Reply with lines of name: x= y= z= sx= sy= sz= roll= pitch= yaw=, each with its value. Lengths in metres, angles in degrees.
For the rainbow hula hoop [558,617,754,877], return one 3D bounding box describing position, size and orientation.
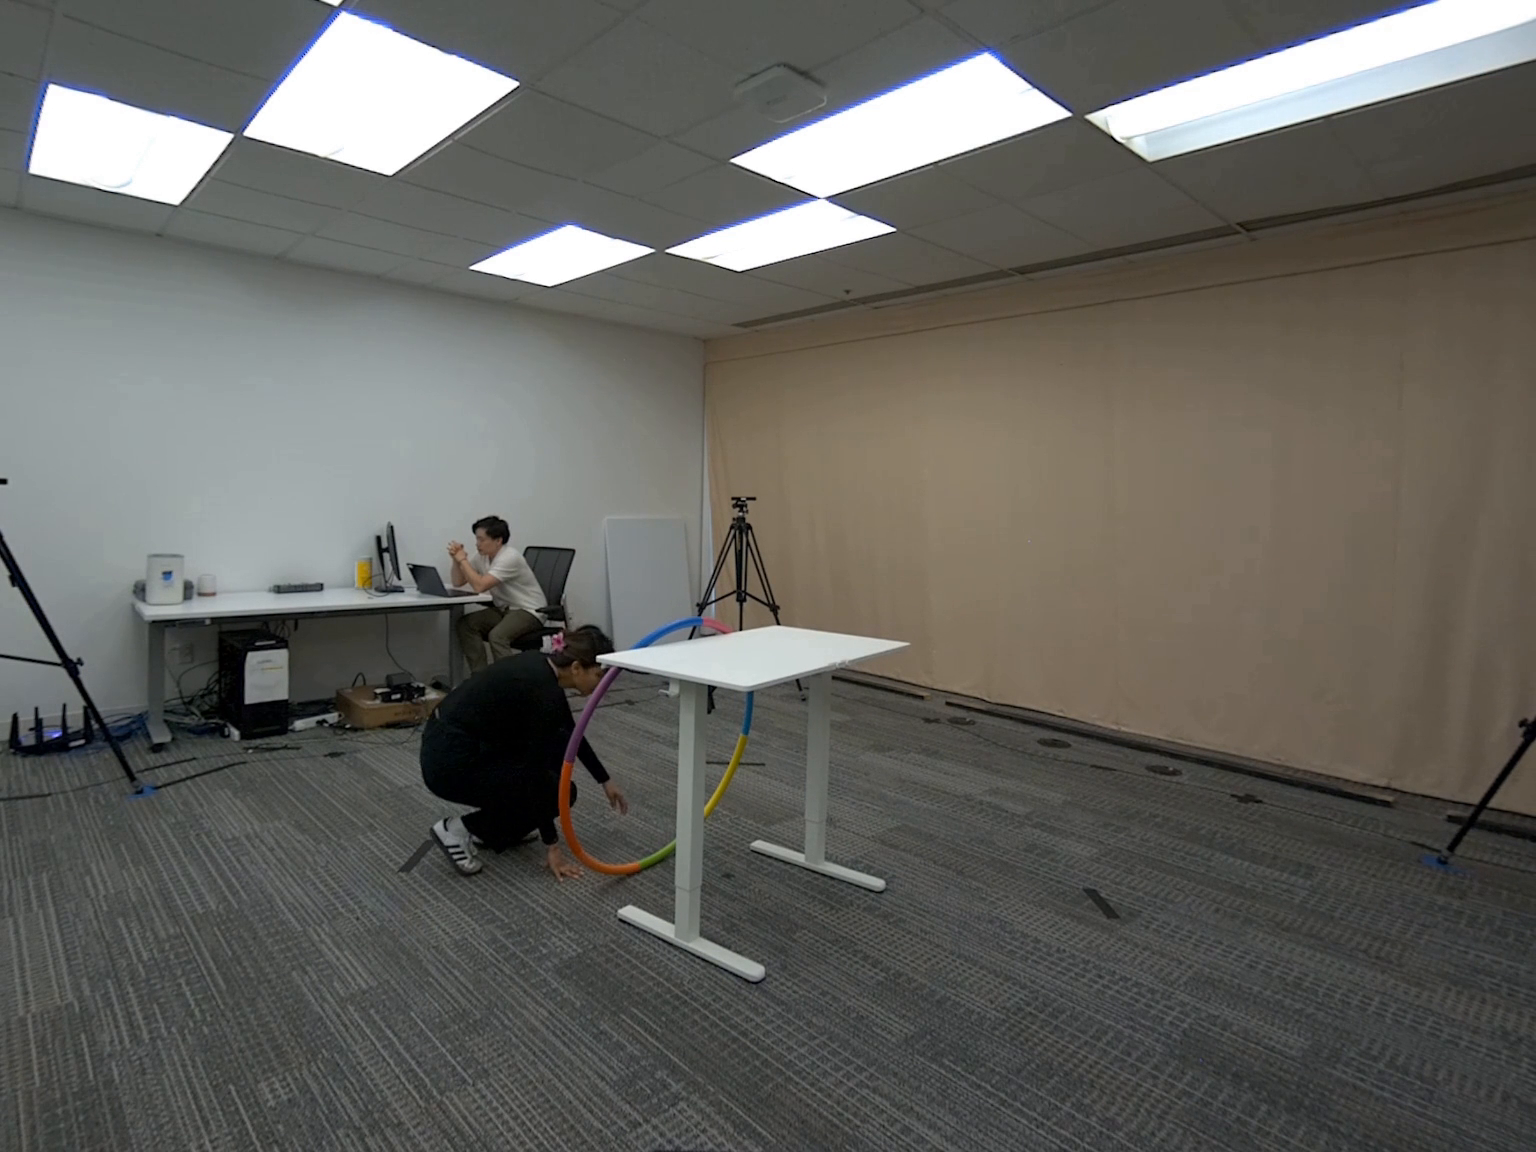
rainbow hula hoop: x=-0.375 y=0.625 z=3.091 sx=0.036 sy=0.972 sz=0.958 roll=18 pitch=13 yaw=34
